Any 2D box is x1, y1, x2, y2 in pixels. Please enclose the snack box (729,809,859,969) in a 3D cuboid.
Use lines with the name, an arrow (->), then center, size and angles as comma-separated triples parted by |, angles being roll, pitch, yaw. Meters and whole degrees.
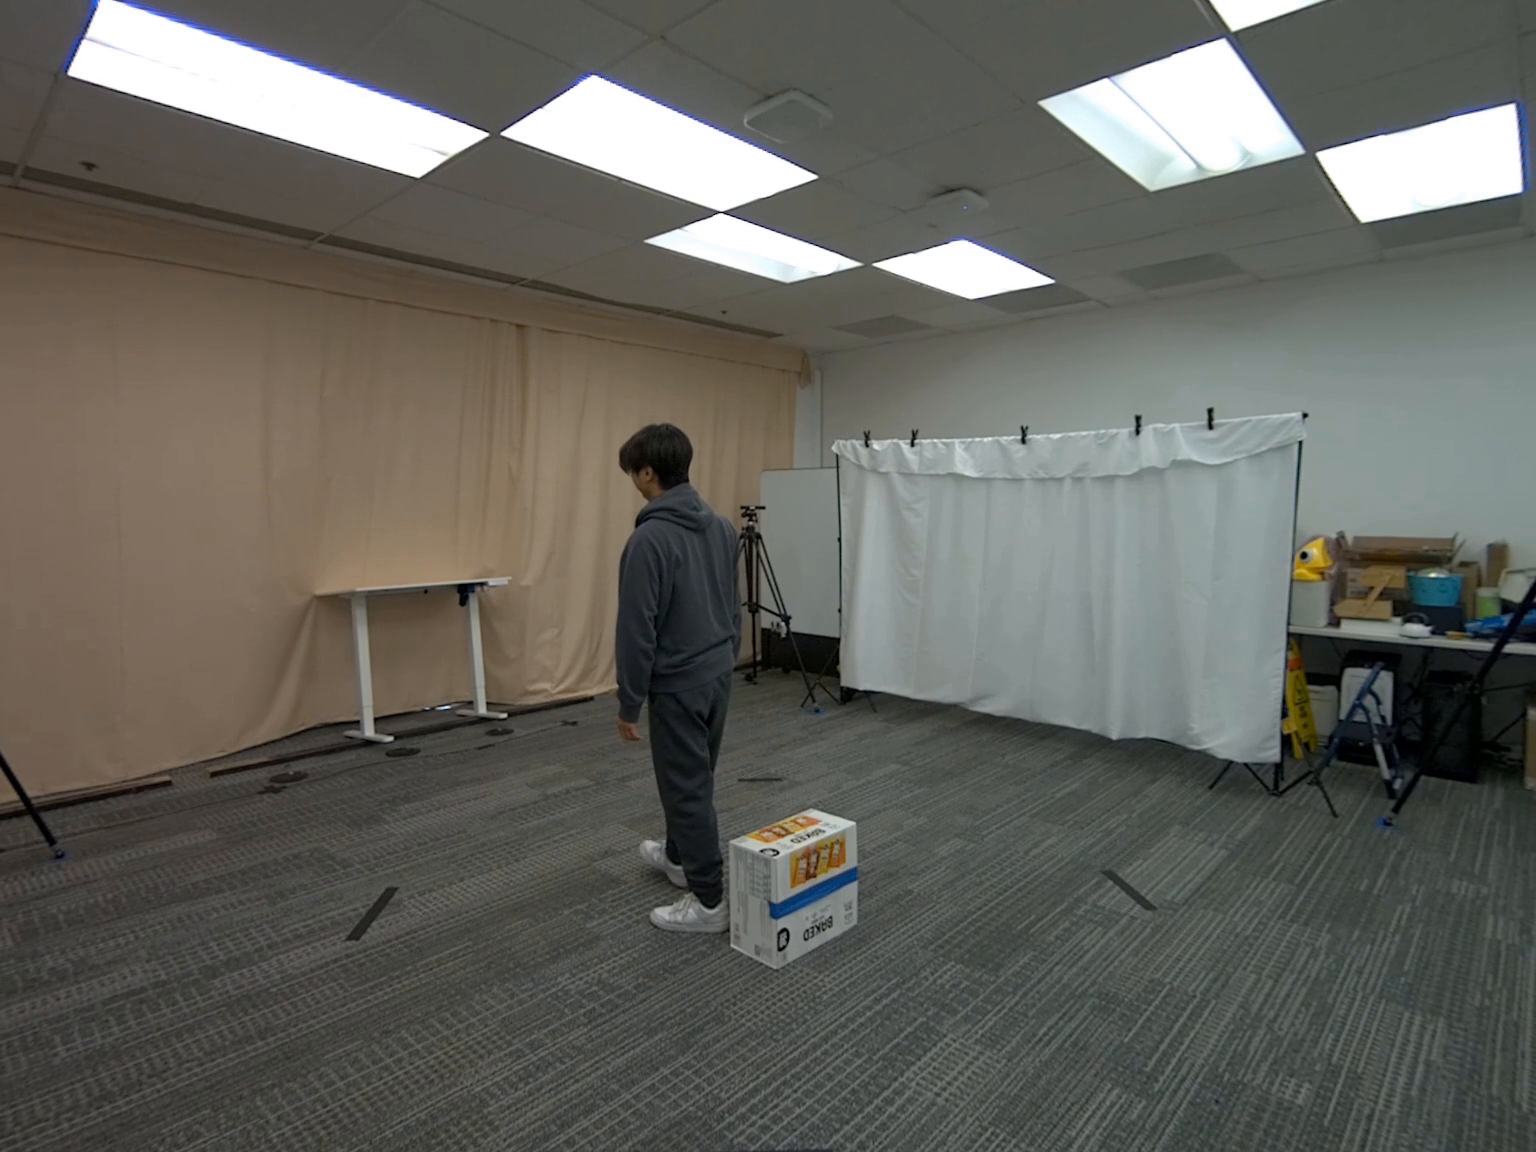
snack box -> 0.091, 0.998, 2.725 | 0.212, 0.340, 0.393 | 1, 3, 45
